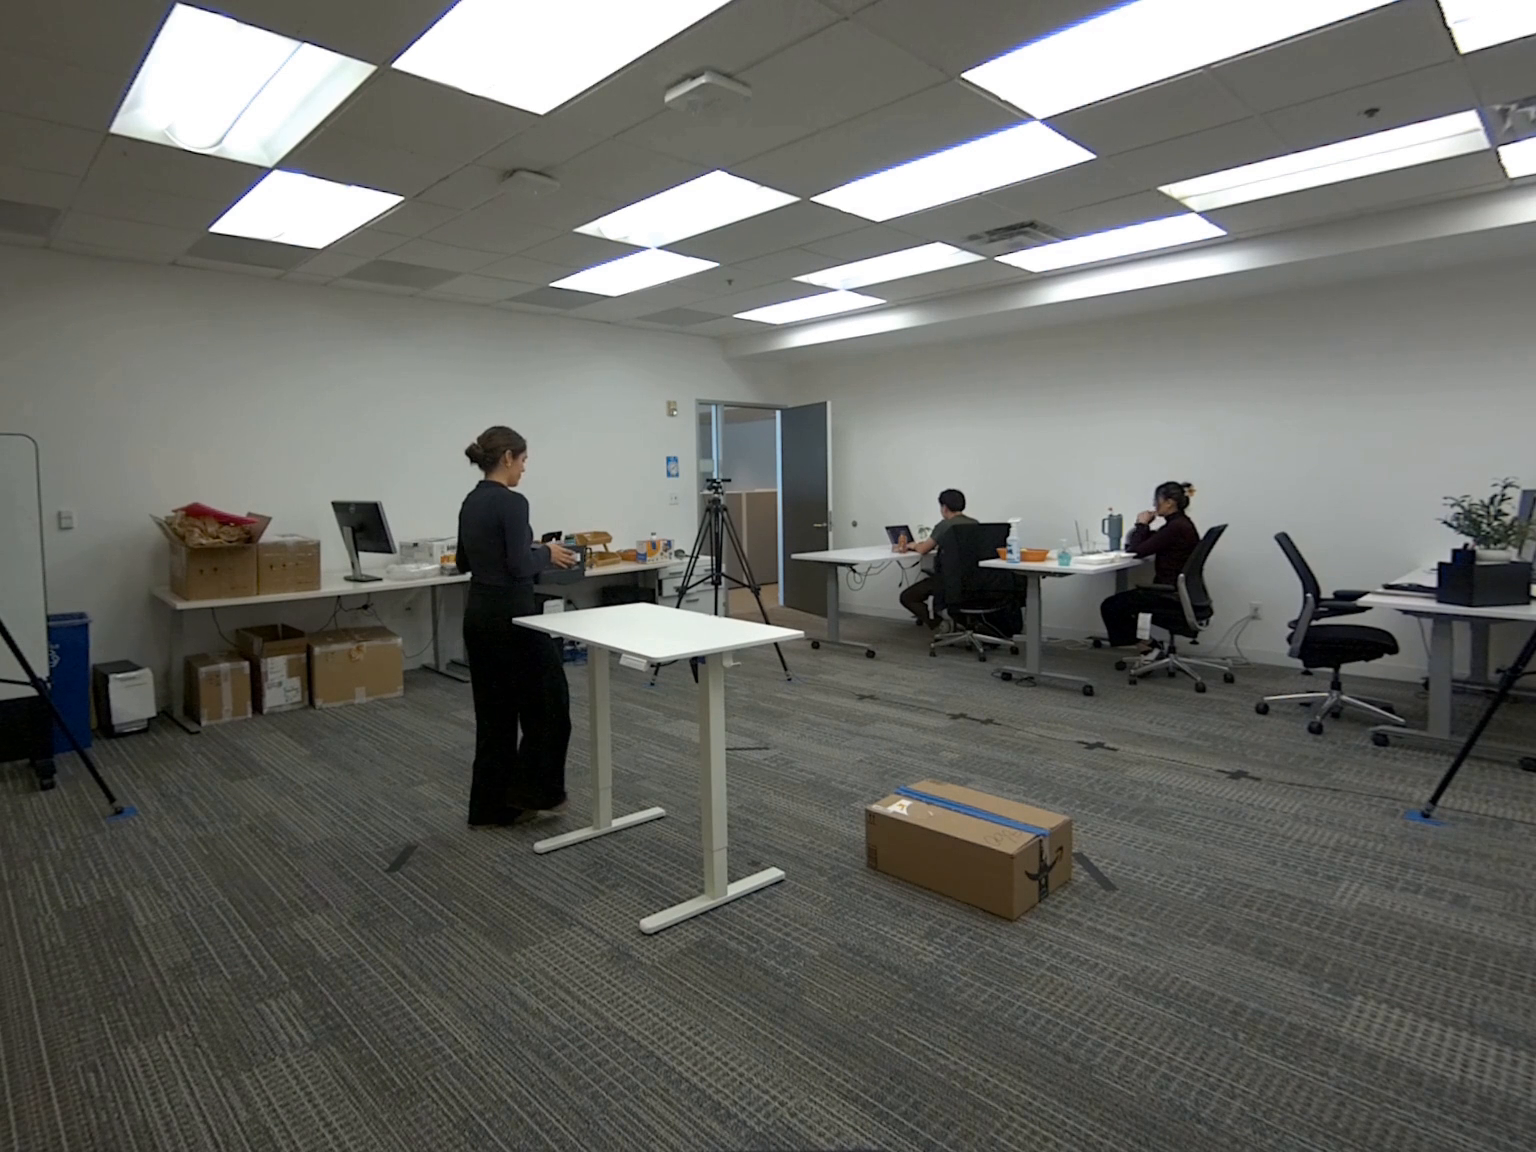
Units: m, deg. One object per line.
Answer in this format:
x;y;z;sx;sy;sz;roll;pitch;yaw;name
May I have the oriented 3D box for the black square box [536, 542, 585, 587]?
-0.944;-0.055;3.684;0.211;0.155;0.235;-5;7;-40;black square box
